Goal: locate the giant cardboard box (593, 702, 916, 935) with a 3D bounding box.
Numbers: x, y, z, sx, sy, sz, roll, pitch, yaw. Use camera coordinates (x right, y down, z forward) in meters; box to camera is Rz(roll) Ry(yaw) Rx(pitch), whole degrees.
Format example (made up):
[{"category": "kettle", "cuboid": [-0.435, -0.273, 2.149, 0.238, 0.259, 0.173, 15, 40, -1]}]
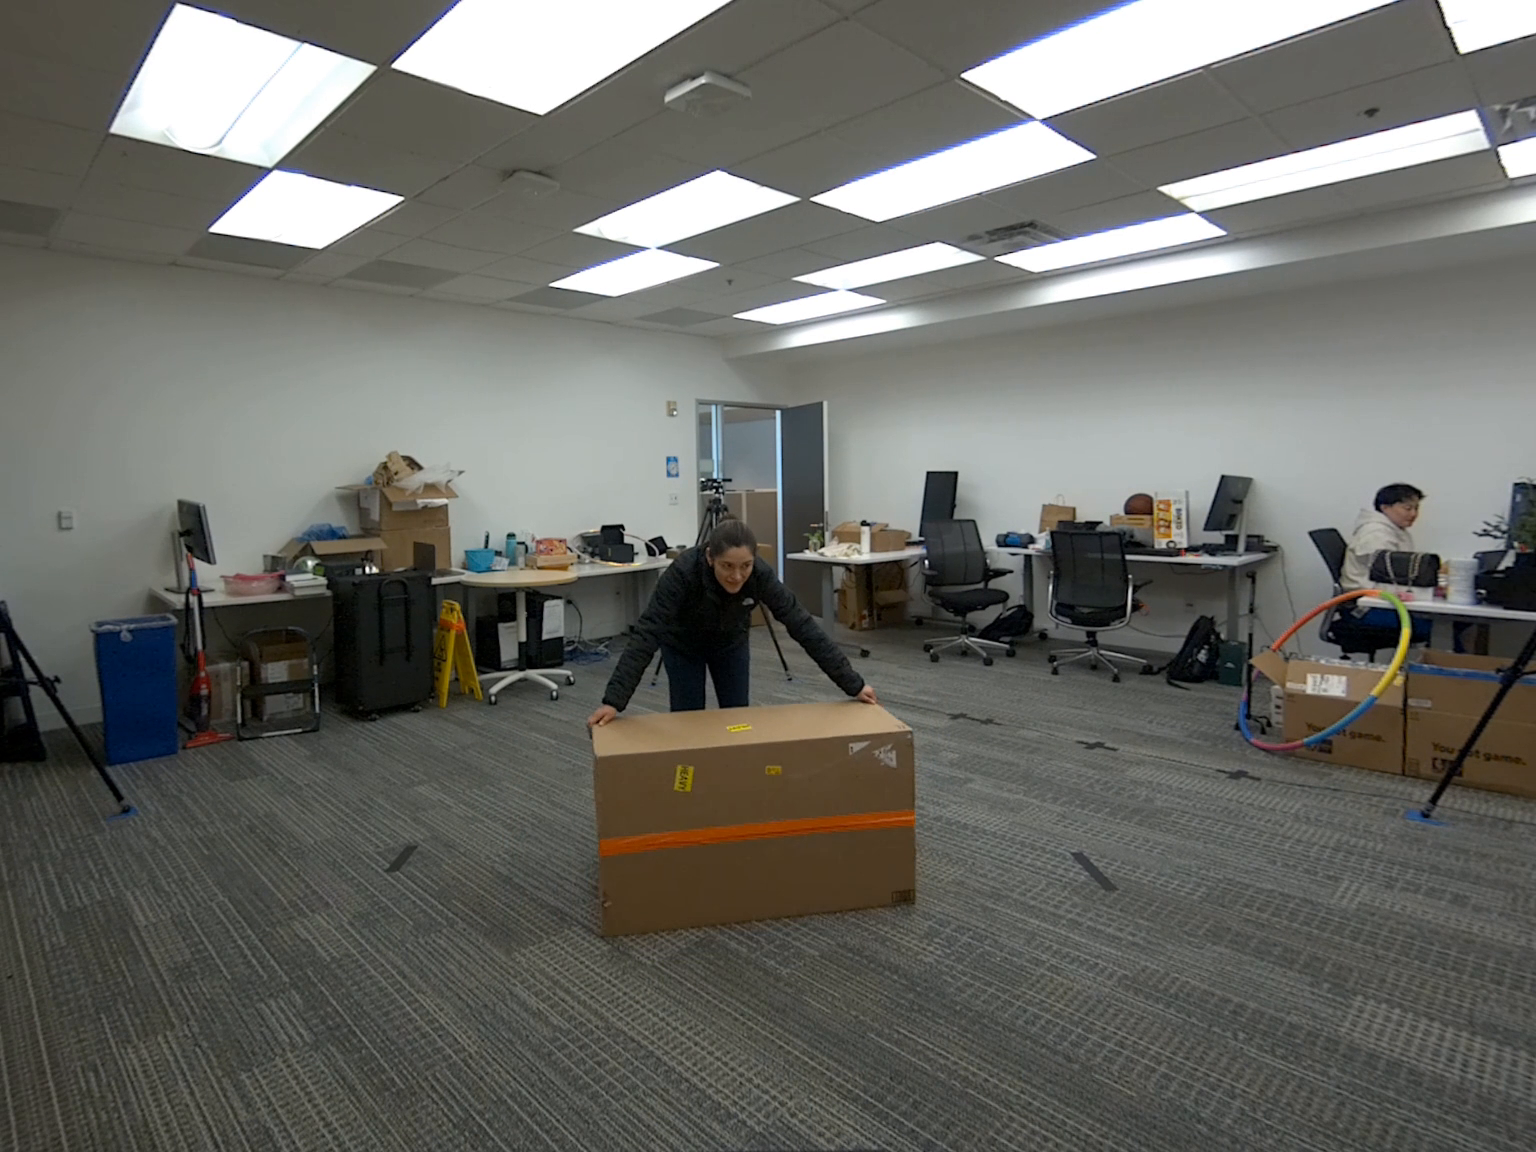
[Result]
[{"category": "giant cardboard box", "cuboid": [-0.069, 0.777, 2.898, 1.016, 0.581, 0.454, -3, 6, -12]}]
